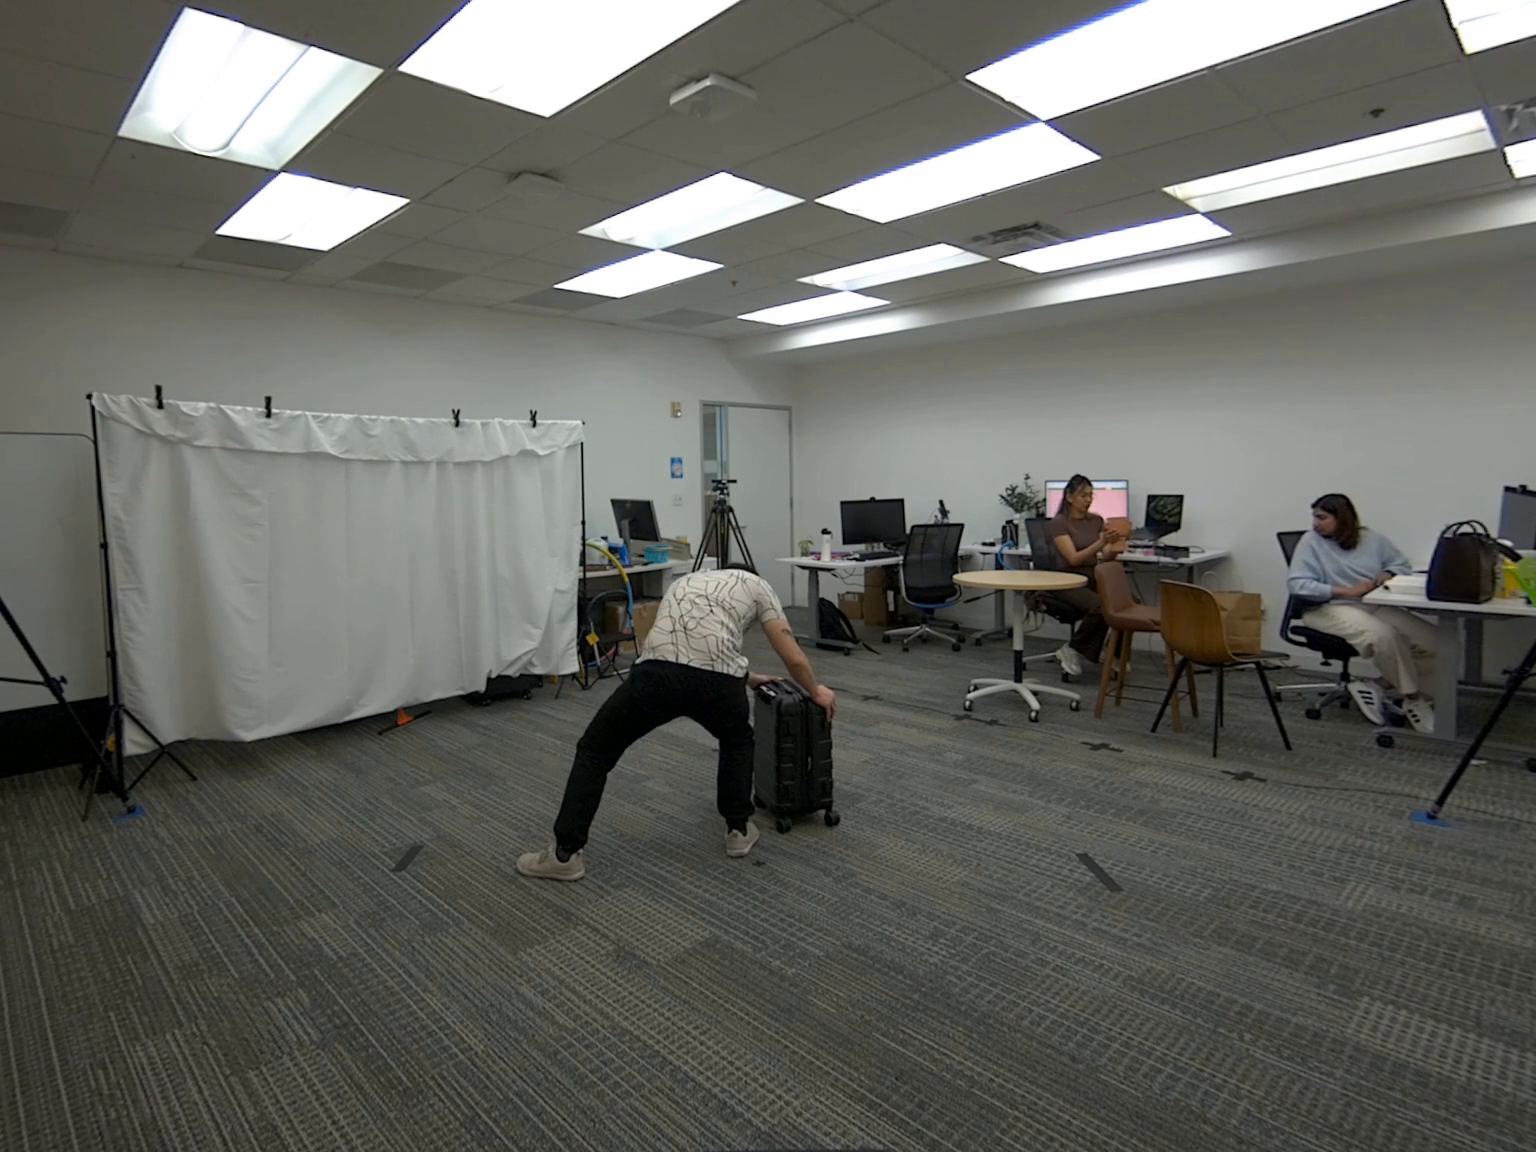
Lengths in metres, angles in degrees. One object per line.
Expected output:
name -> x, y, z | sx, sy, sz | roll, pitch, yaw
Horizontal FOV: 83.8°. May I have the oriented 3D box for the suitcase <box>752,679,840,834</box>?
suitcase -> 0.094, 0.717, 3.567 | 0.244, 0.548, 0.382 | -2, 3, -18
